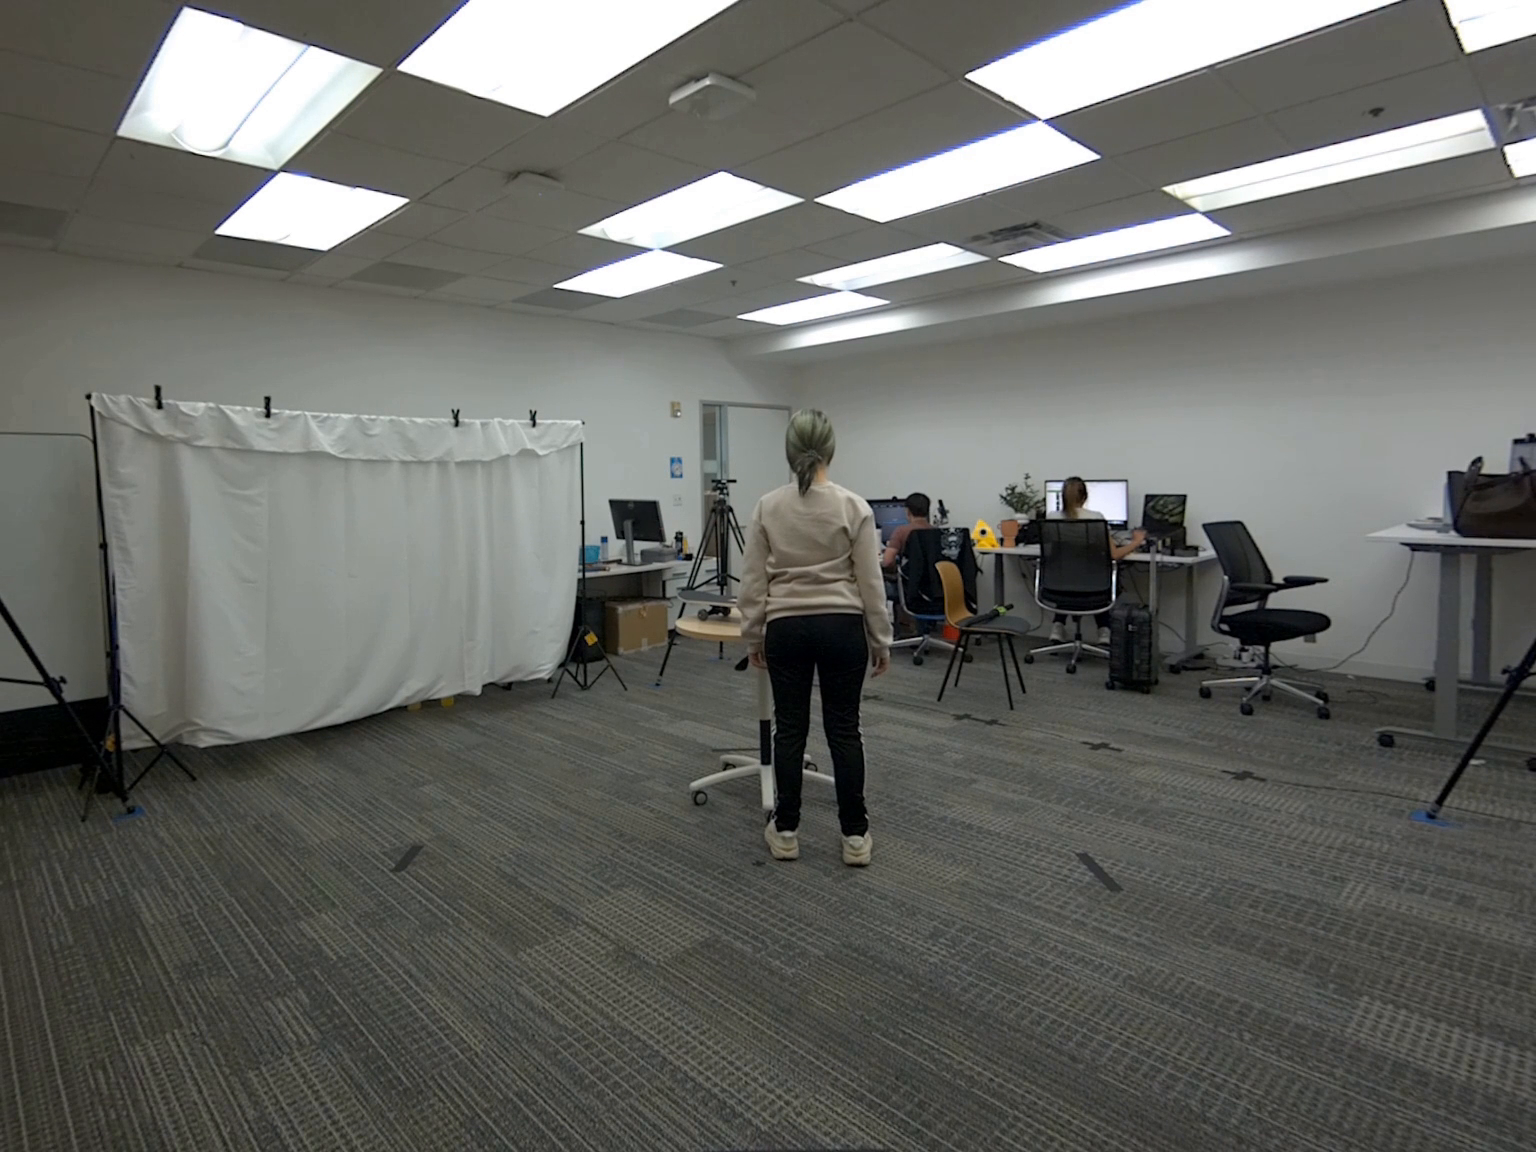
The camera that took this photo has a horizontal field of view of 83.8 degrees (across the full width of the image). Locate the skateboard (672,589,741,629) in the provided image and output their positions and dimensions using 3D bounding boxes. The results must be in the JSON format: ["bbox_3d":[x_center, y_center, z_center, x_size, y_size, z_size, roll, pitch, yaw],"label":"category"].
[{"bbox_3d":[-0.073,0.149,3.696,0.809,0.110,0.189,3,10,42],"label":"skateboard"}]
